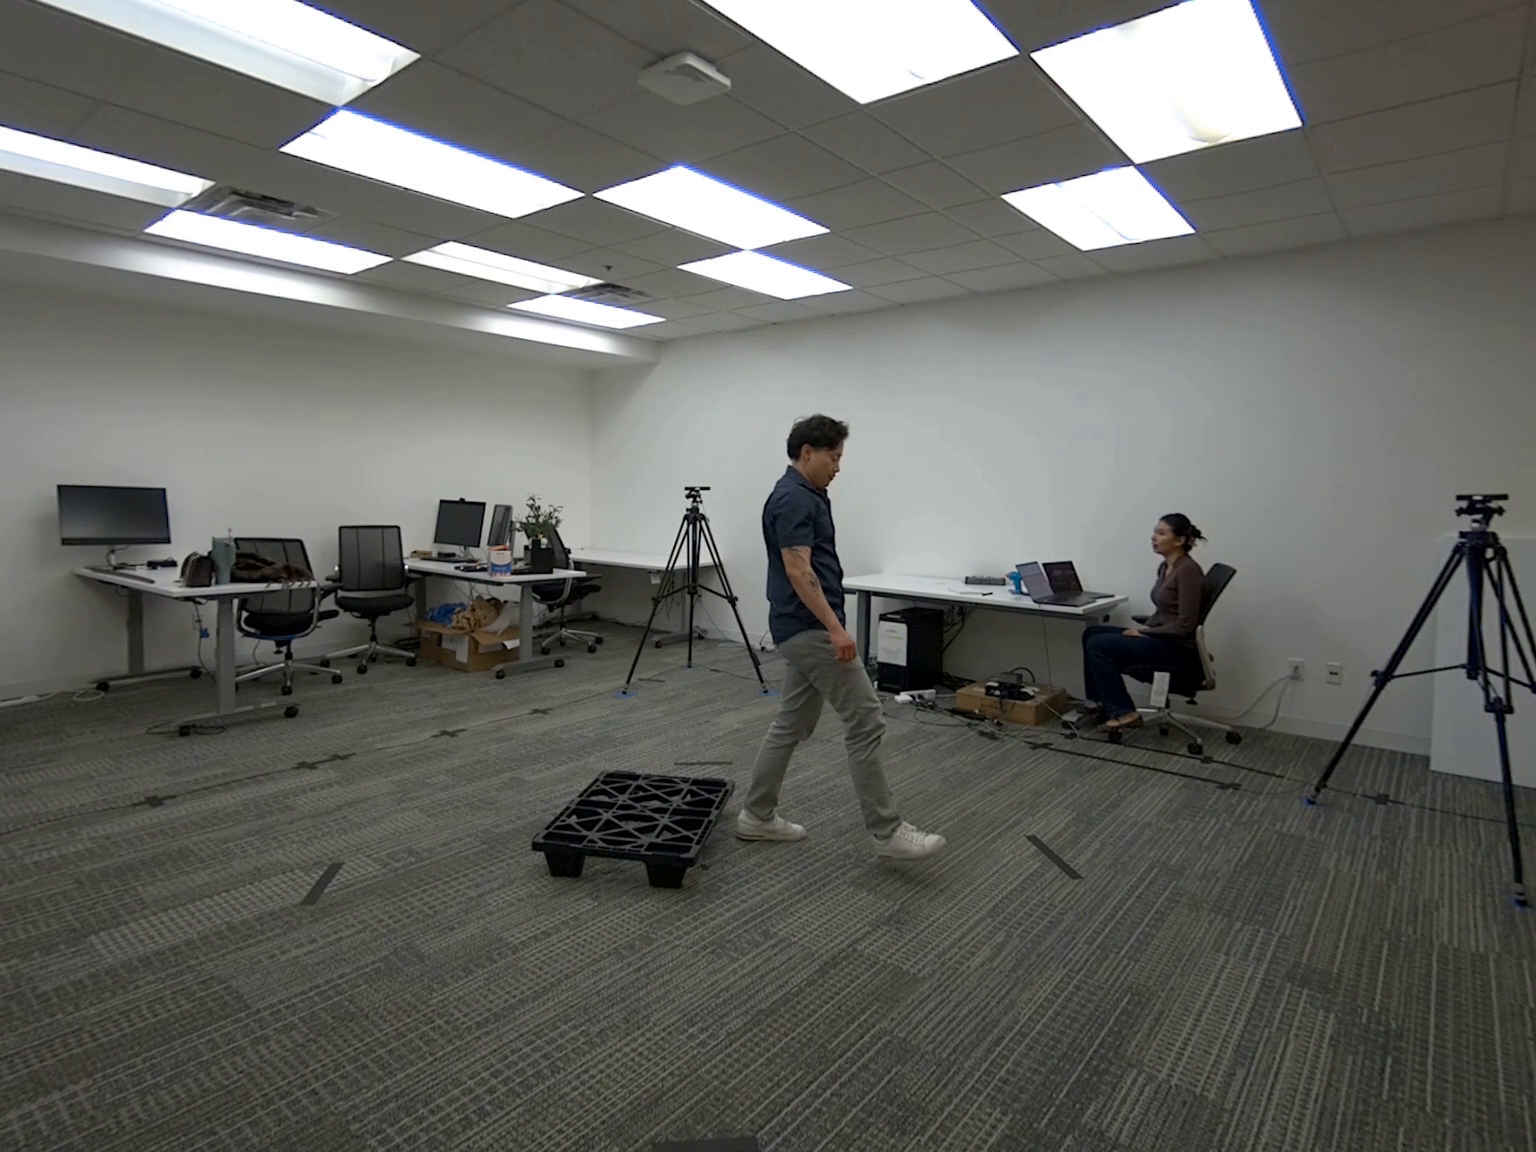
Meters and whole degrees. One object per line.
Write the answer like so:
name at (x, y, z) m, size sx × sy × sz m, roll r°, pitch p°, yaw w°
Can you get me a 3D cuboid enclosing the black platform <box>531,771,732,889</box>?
black platform at (-0.504, 0.971, 3.334) m, size 0.612 × 0.143 × 0.800 m, roll 1°, pitch 5°, yaw 9°
